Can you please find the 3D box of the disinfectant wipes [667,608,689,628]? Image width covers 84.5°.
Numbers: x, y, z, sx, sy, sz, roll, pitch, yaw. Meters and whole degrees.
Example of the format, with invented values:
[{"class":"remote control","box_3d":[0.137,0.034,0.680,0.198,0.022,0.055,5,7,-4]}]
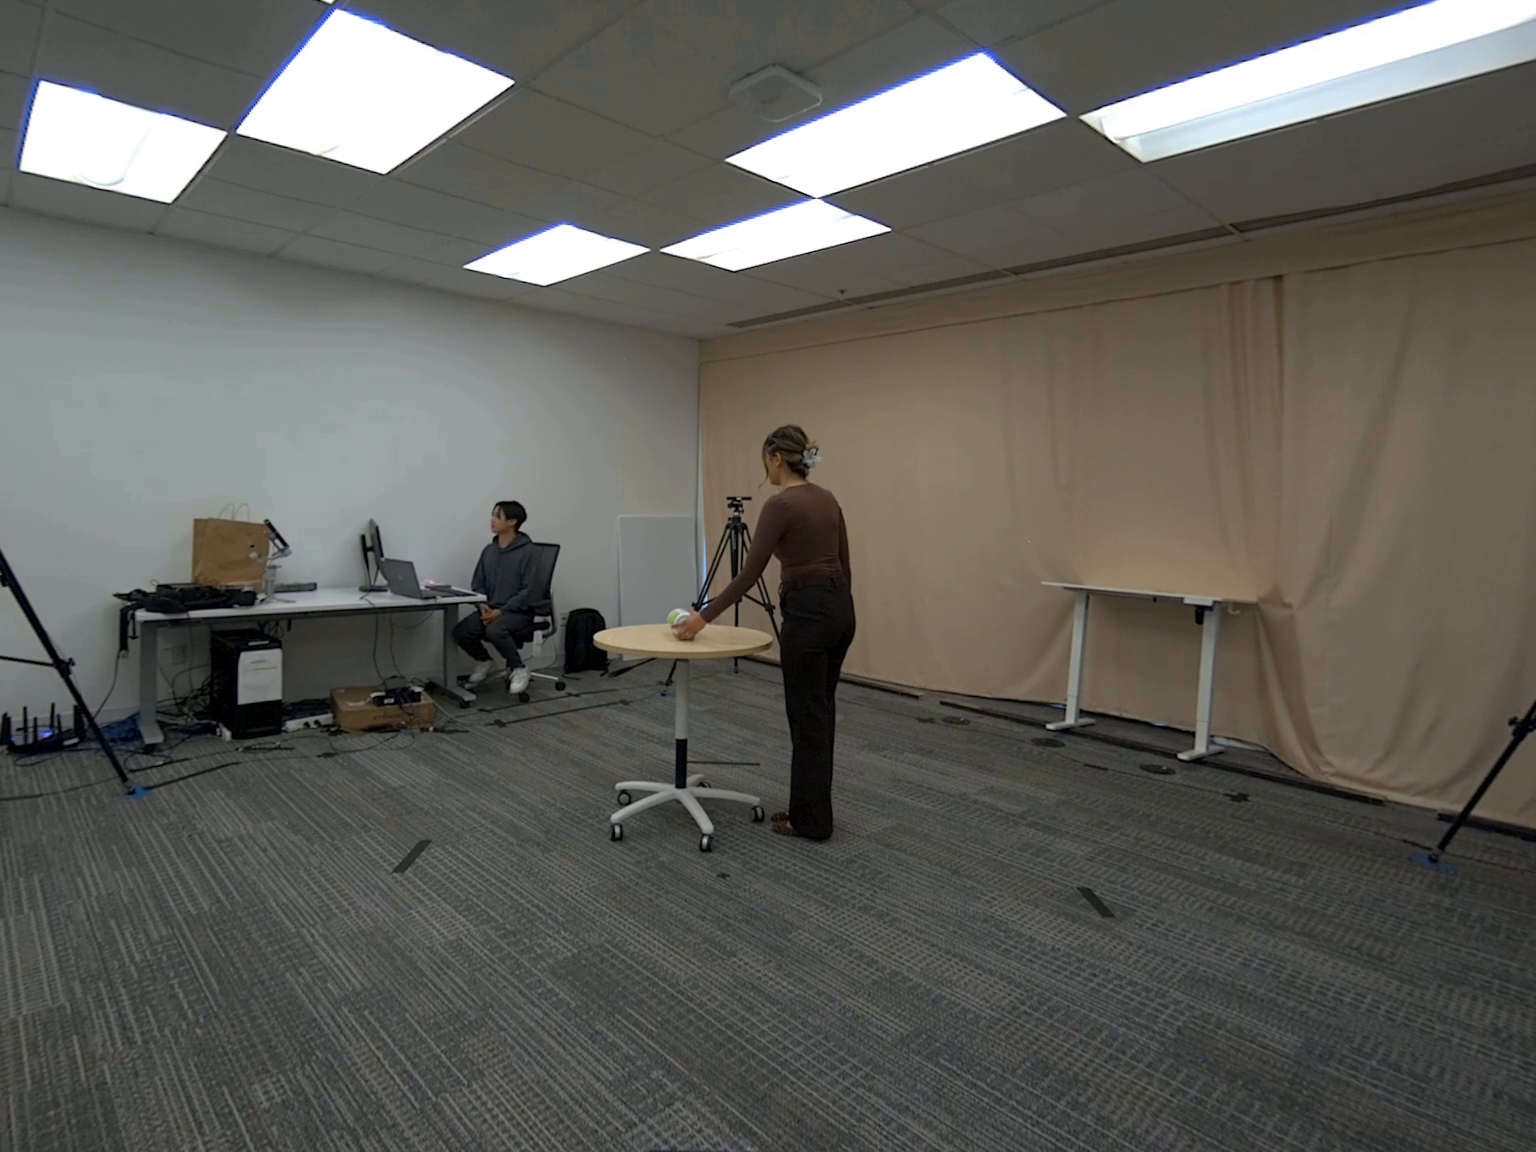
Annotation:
[{"class":"disinfectant wipes","box_3d":[-0.364,0.202,3.603,0.116,0.117,0.220,0,4,-15]}]
